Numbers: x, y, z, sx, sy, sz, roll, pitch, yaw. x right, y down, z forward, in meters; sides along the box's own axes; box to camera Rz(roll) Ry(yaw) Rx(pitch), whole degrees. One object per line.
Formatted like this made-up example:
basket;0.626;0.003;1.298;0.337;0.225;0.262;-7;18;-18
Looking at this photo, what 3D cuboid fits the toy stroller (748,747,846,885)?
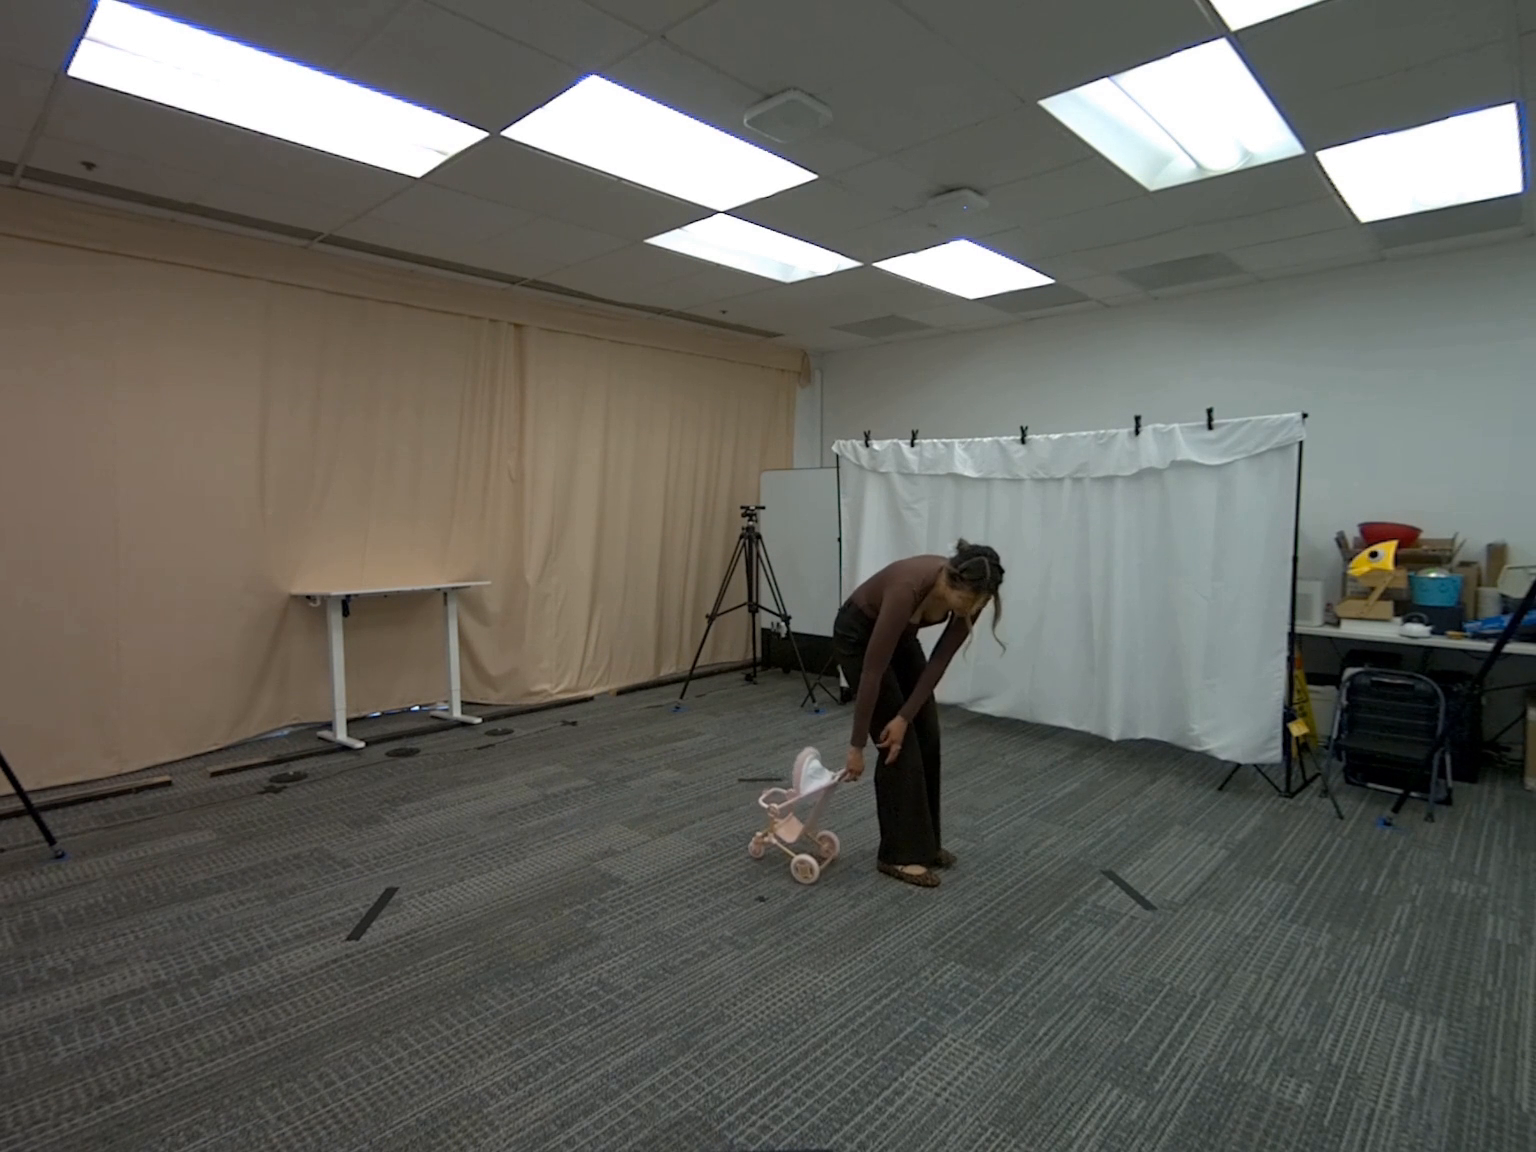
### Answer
toy stroller;0.132;0.901;3.235;0.352;0.533;0.274;21;12;28
